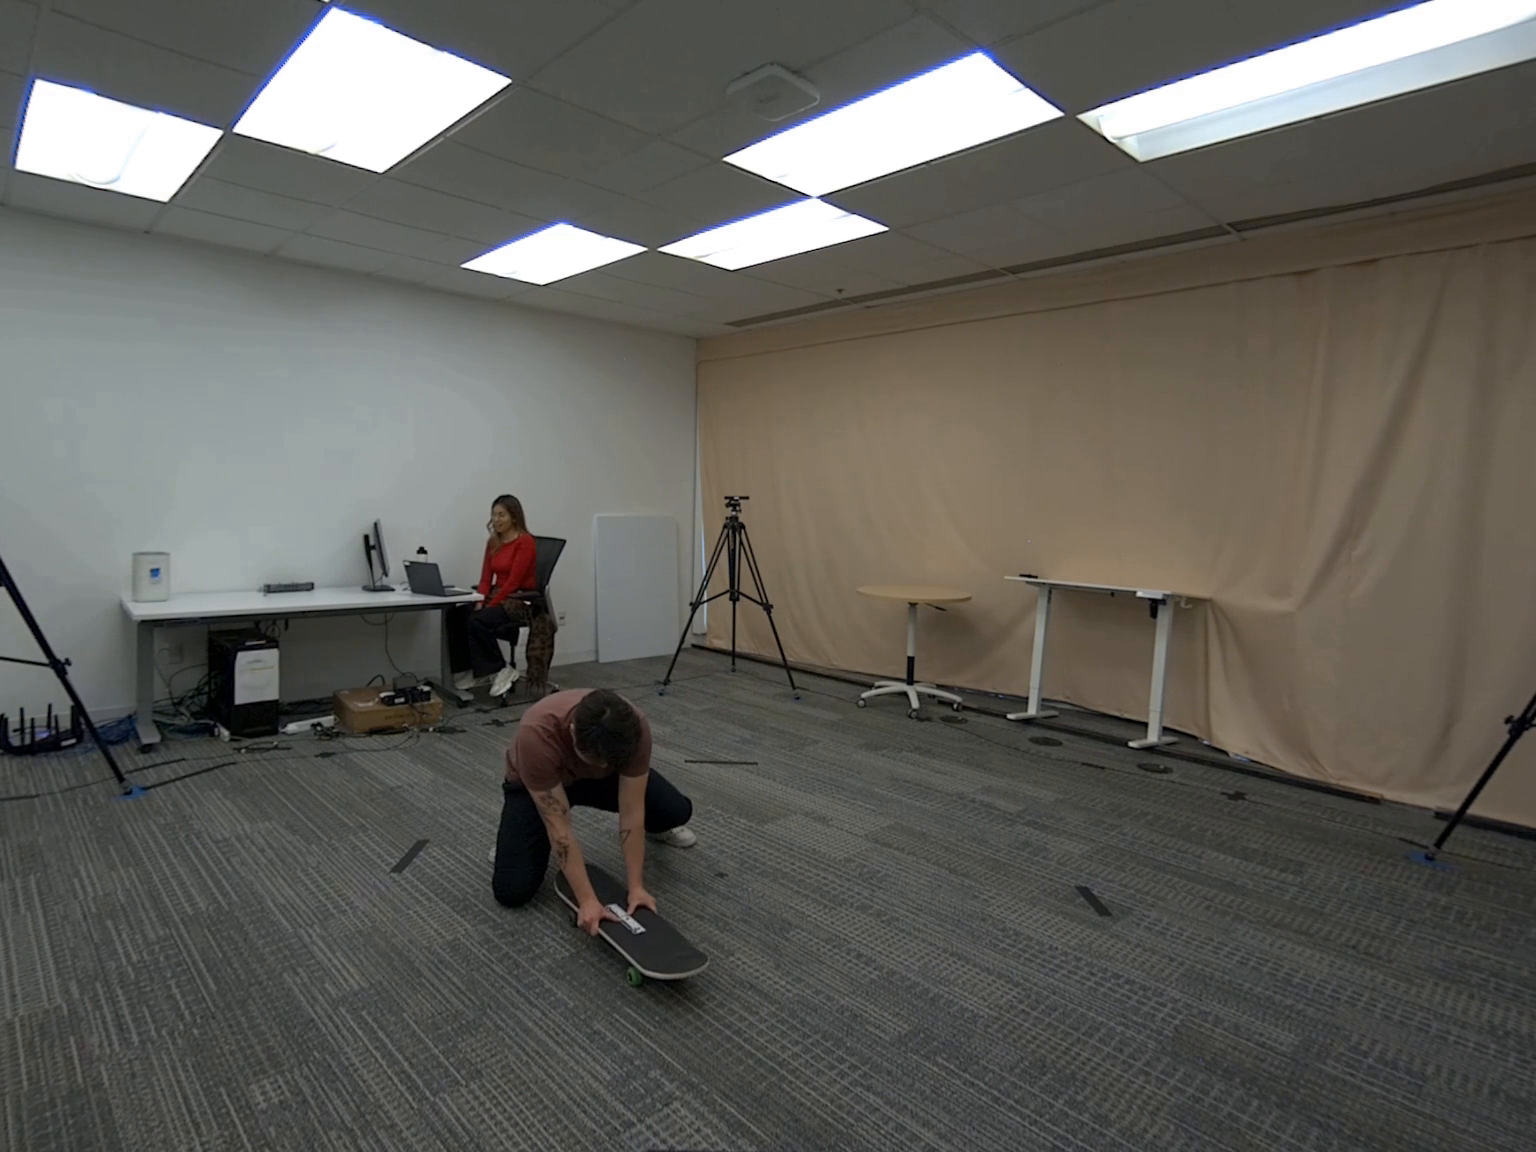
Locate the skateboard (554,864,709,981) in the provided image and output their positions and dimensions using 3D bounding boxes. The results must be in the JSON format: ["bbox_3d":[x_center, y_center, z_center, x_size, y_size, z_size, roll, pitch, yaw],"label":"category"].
[{"bbox_3d":[-0.453,1.093,2.603,0.189,0.110,0.804,-2,5,-36],"label":"skateboard"}]
